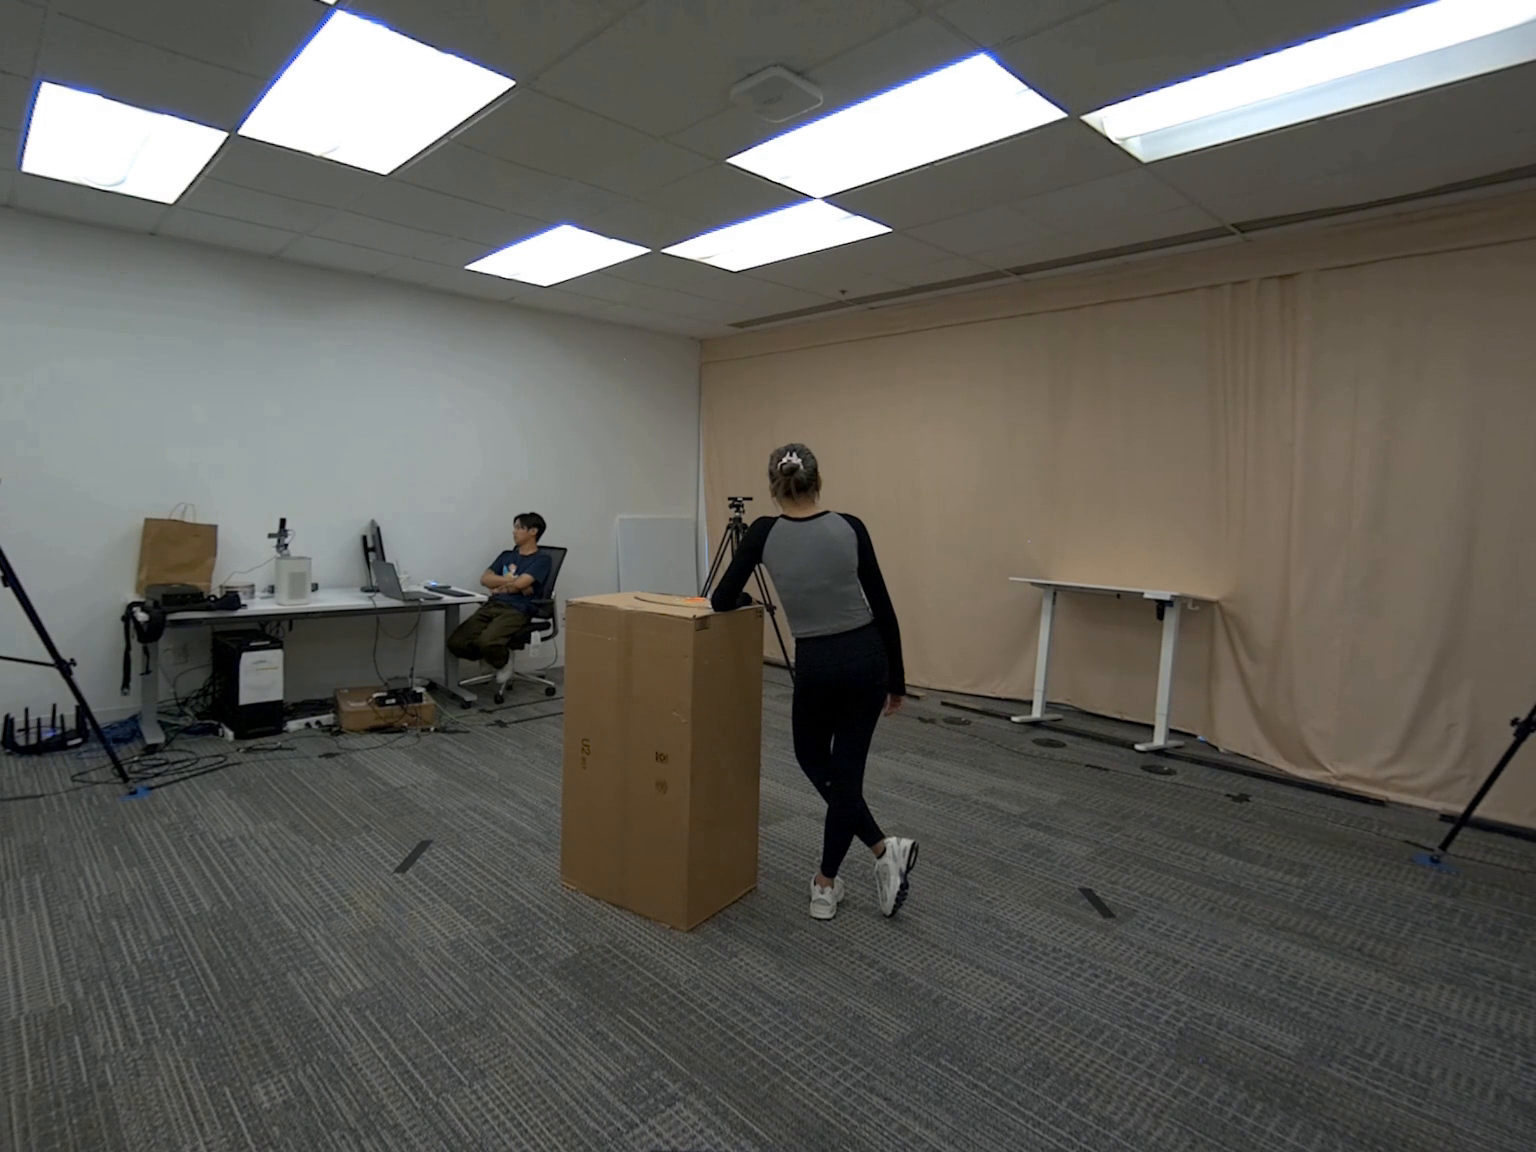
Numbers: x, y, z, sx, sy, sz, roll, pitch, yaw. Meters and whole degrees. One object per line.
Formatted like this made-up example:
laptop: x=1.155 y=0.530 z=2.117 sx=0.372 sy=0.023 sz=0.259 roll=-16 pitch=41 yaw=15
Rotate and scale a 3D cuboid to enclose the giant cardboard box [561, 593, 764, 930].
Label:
giant cardboard box: x=-0.384 y=0.603 z=2.999 sx=0.591 sy=1.023 sz=0.417 roll=4 pitch=4 yaw=34
